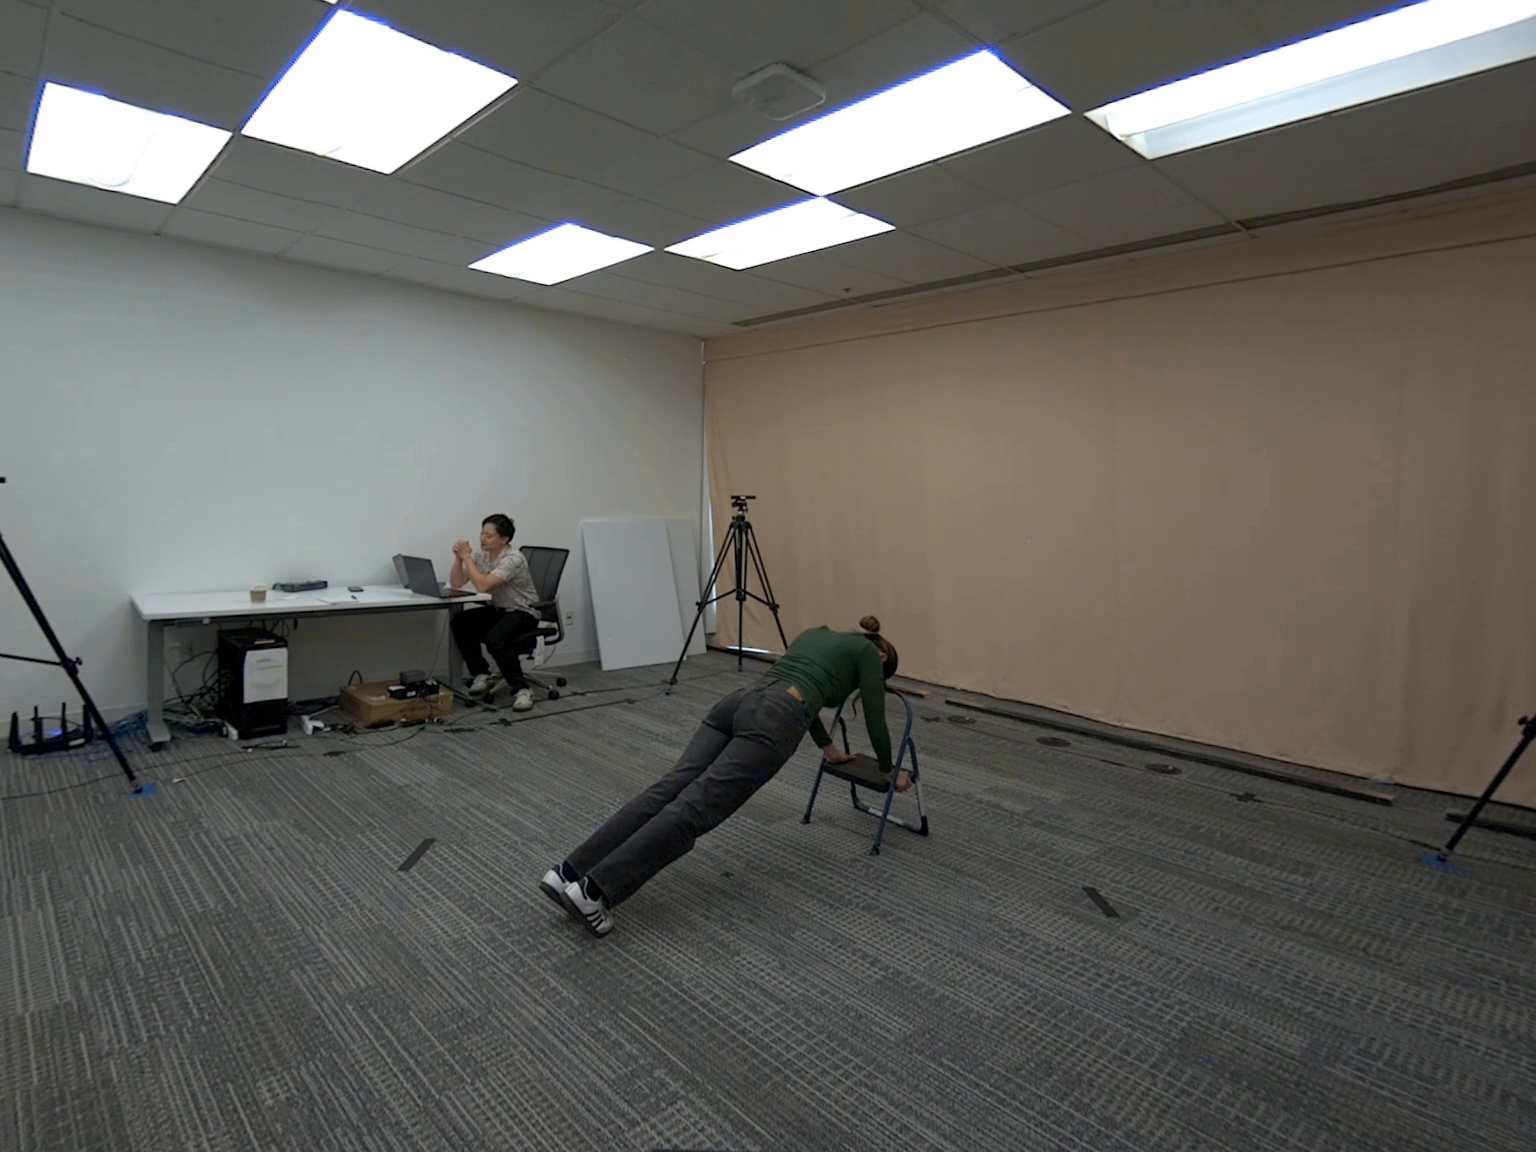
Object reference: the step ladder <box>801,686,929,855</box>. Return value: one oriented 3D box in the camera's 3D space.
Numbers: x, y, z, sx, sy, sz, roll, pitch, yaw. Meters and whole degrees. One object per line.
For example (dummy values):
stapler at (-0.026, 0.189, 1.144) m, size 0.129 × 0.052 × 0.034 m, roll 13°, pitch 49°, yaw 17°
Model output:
step ladder at (0.411, 0.775, 3.557) m, size 0.341 × 0.605 × 0.441 m, roll -1°, pitch 4°, yaw -40°
